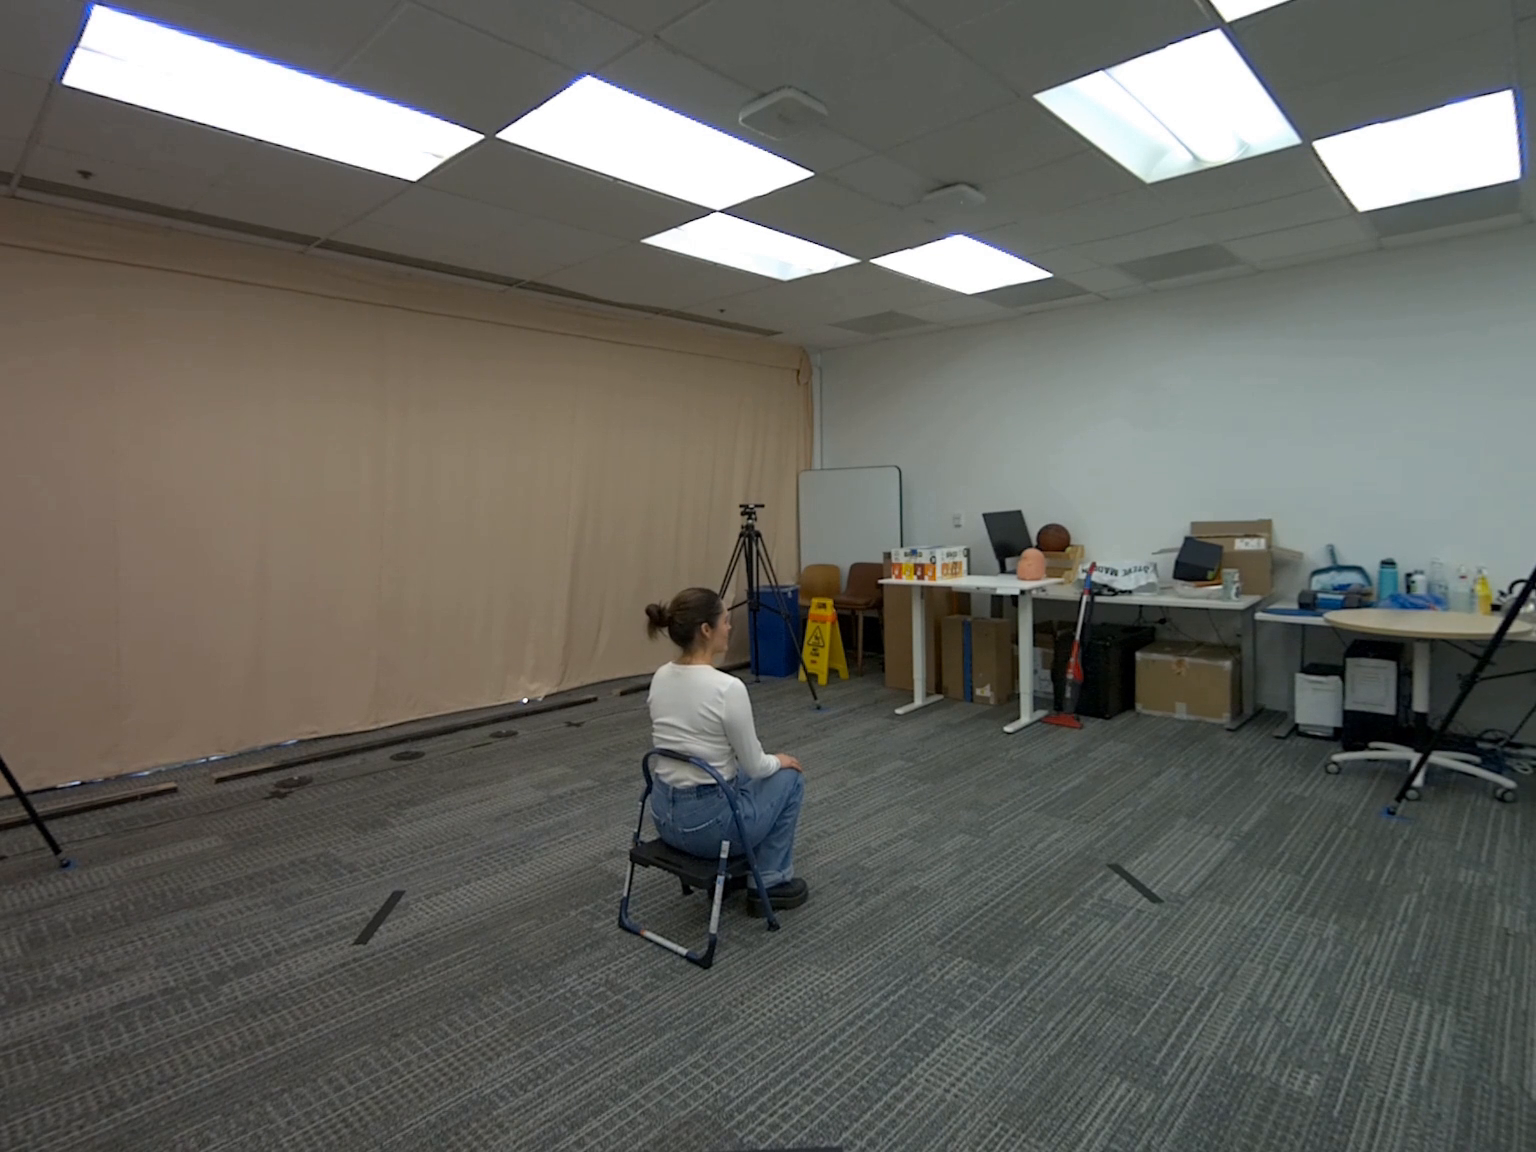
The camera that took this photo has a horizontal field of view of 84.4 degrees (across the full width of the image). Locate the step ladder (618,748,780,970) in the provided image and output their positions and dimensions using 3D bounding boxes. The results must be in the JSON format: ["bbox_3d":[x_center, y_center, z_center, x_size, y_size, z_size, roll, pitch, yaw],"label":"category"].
[{"bbox_3d":[-0.241,0.859,2.765,0.445,0.605,0.339,2,4,40],"label":"step ladder"}]
